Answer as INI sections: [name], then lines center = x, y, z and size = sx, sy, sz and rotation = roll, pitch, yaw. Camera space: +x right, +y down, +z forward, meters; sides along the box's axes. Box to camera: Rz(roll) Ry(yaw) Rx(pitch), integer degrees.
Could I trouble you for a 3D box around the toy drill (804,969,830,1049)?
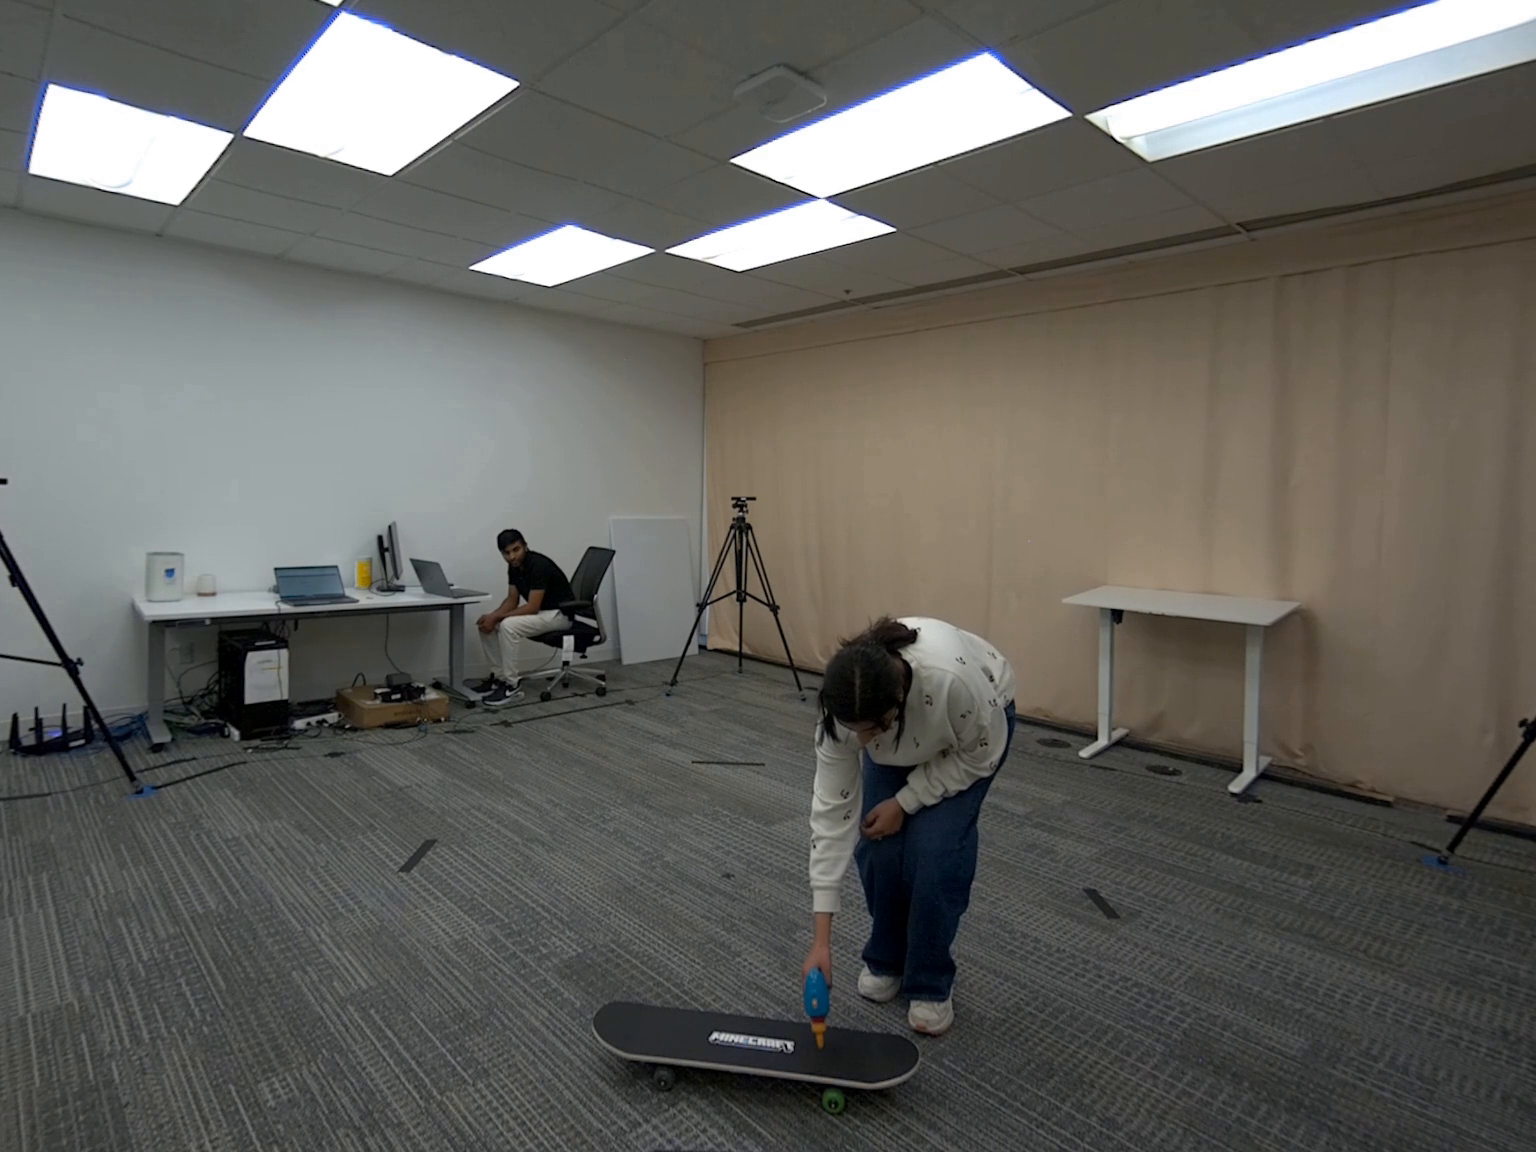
[toy drill]
center = 0.109, 1.034, 2.023
size = 0.061, 0.171, 0.144
rotation = -3, -10, 9
